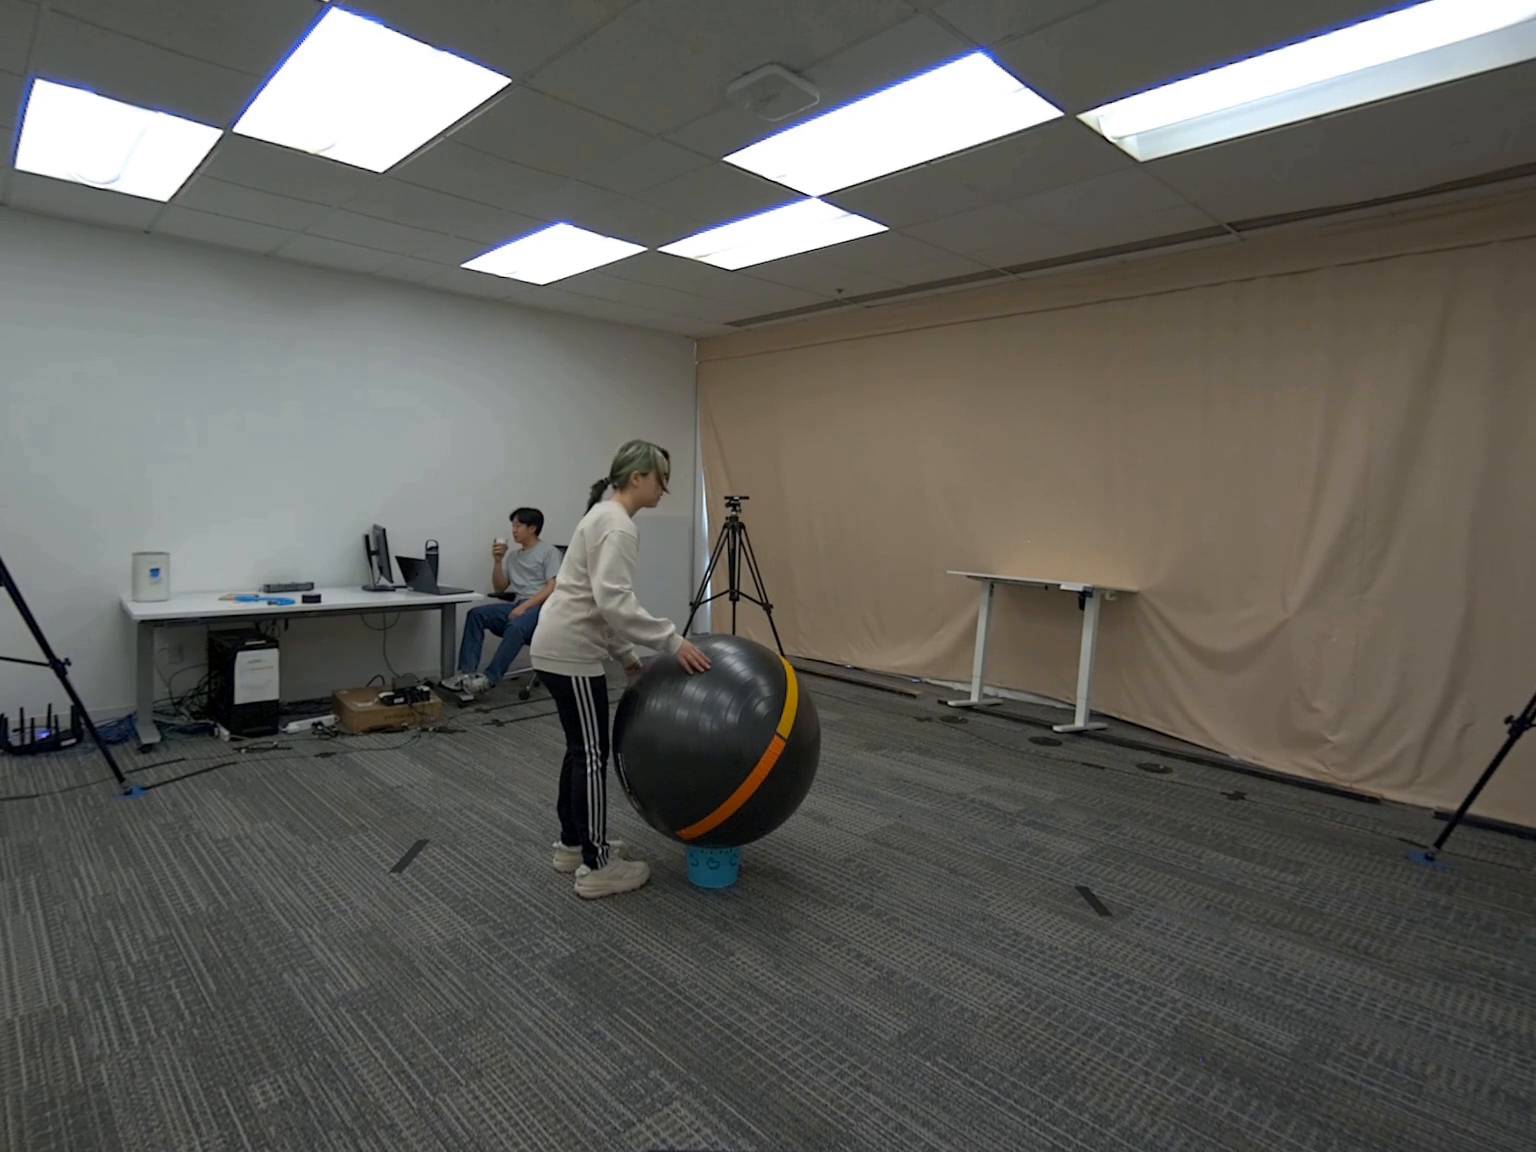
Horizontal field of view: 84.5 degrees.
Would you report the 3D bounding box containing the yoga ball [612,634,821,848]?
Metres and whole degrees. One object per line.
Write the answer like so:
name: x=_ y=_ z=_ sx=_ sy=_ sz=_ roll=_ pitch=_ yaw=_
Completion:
yoga ball: x=-0.194 y=0.596 z=3.069 sx=0.757 sy=0.756 sz=0.761 roll=1 pitch=4 yaw=-1
